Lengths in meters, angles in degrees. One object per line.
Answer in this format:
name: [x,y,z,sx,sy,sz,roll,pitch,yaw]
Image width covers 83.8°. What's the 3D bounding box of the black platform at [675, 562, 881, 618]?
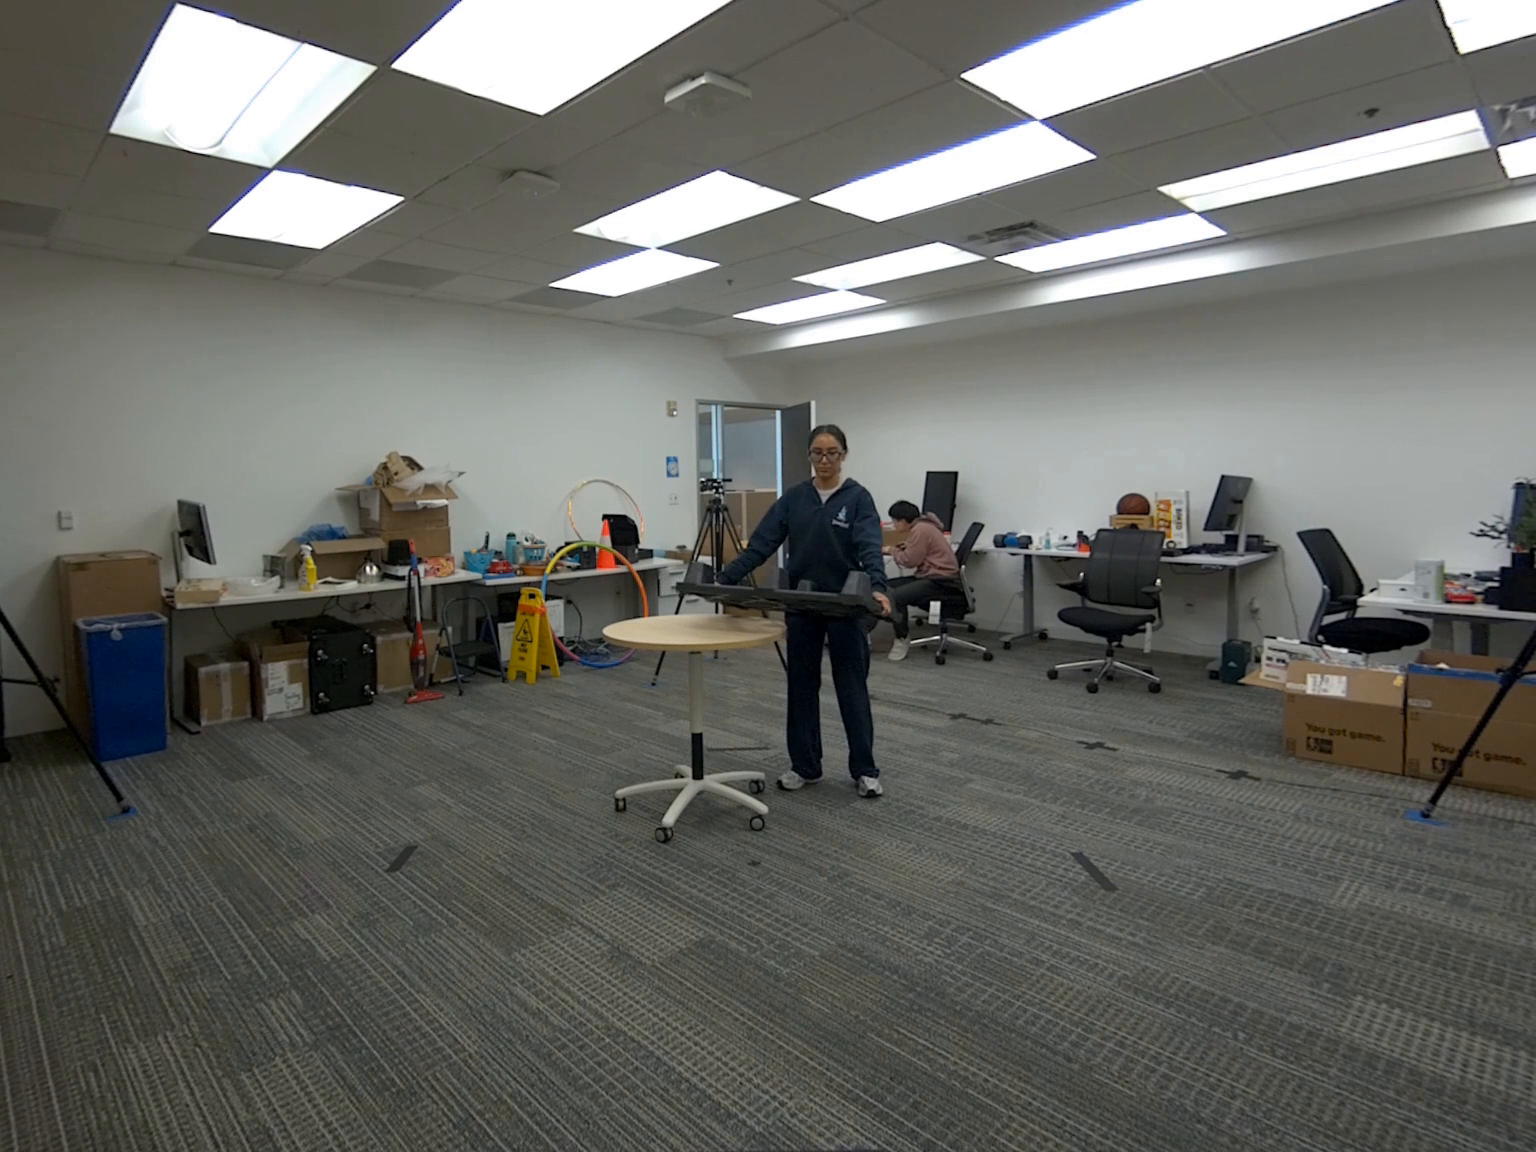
black platform: [0.100,0.070,3.572,0.824,0.144,0.586,3,-9,25]
